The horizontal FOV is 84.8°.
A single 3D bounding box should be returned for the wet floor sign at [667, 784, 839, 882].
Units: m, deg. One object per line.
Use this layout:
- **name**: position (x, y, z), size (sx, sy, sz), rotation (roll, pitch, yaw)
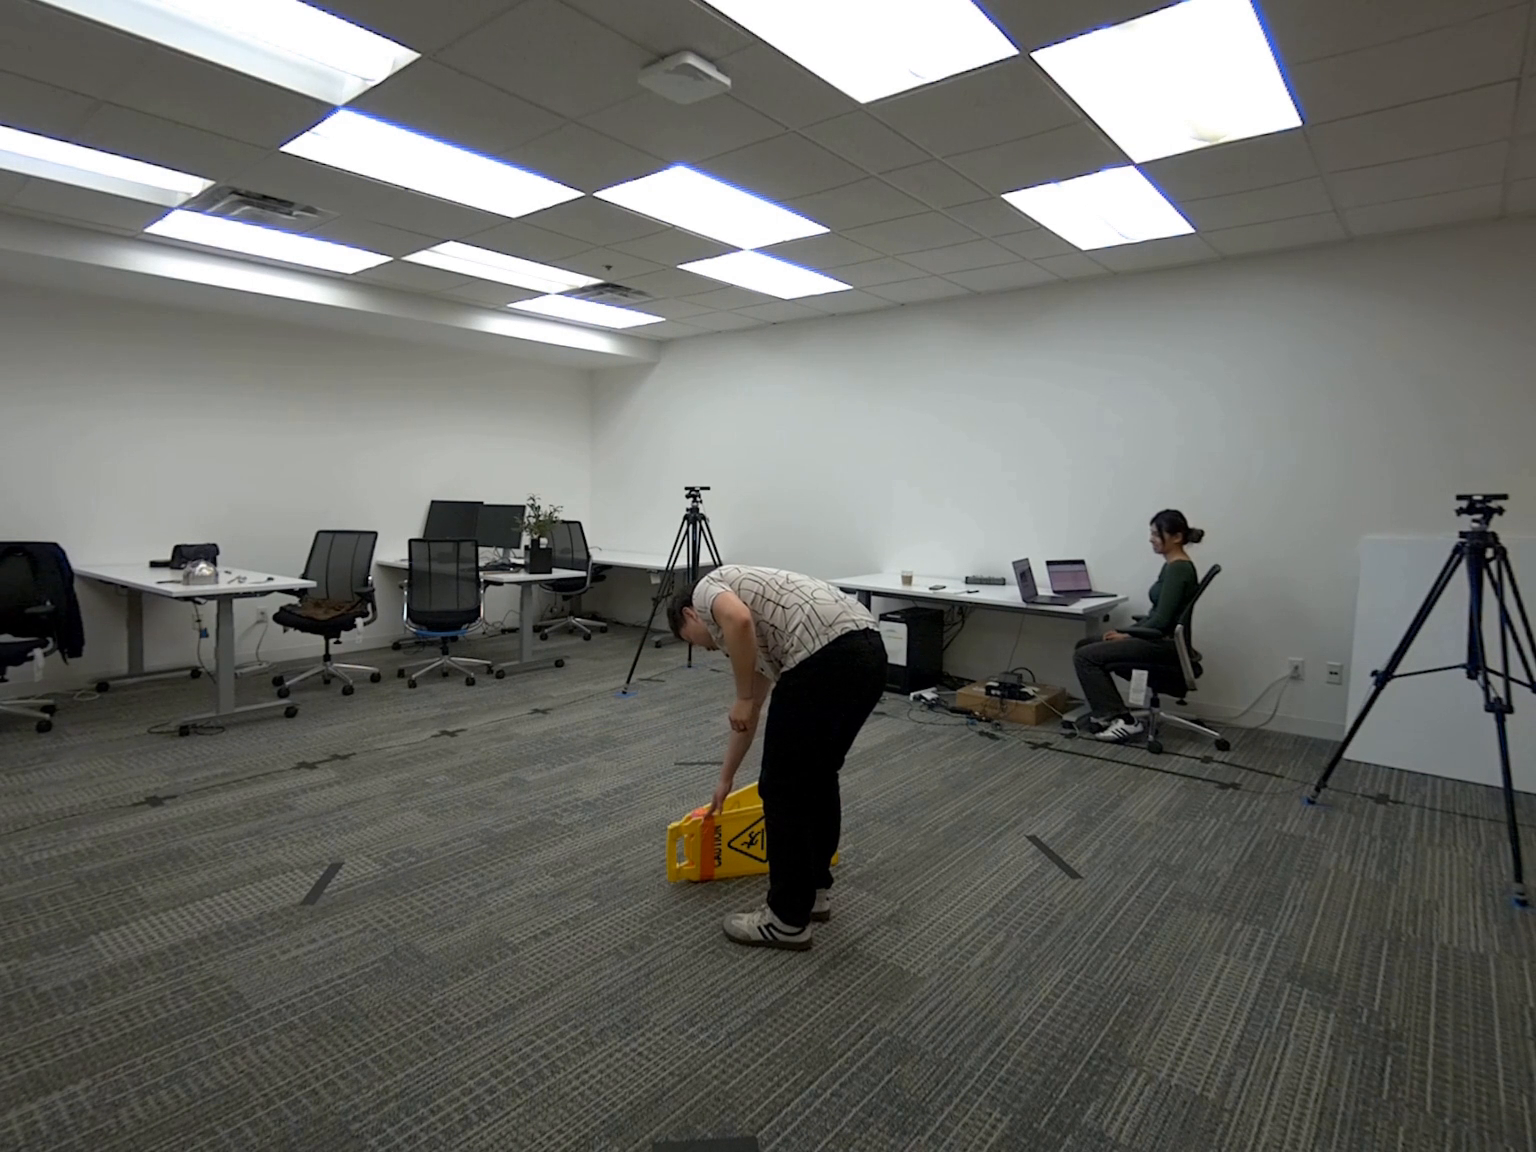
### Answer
- **wet floor sign**: position (-0.095, 0.933, 3.109), size (0.629, 0.281, 0.299), rotation (-5, 8, -34)
